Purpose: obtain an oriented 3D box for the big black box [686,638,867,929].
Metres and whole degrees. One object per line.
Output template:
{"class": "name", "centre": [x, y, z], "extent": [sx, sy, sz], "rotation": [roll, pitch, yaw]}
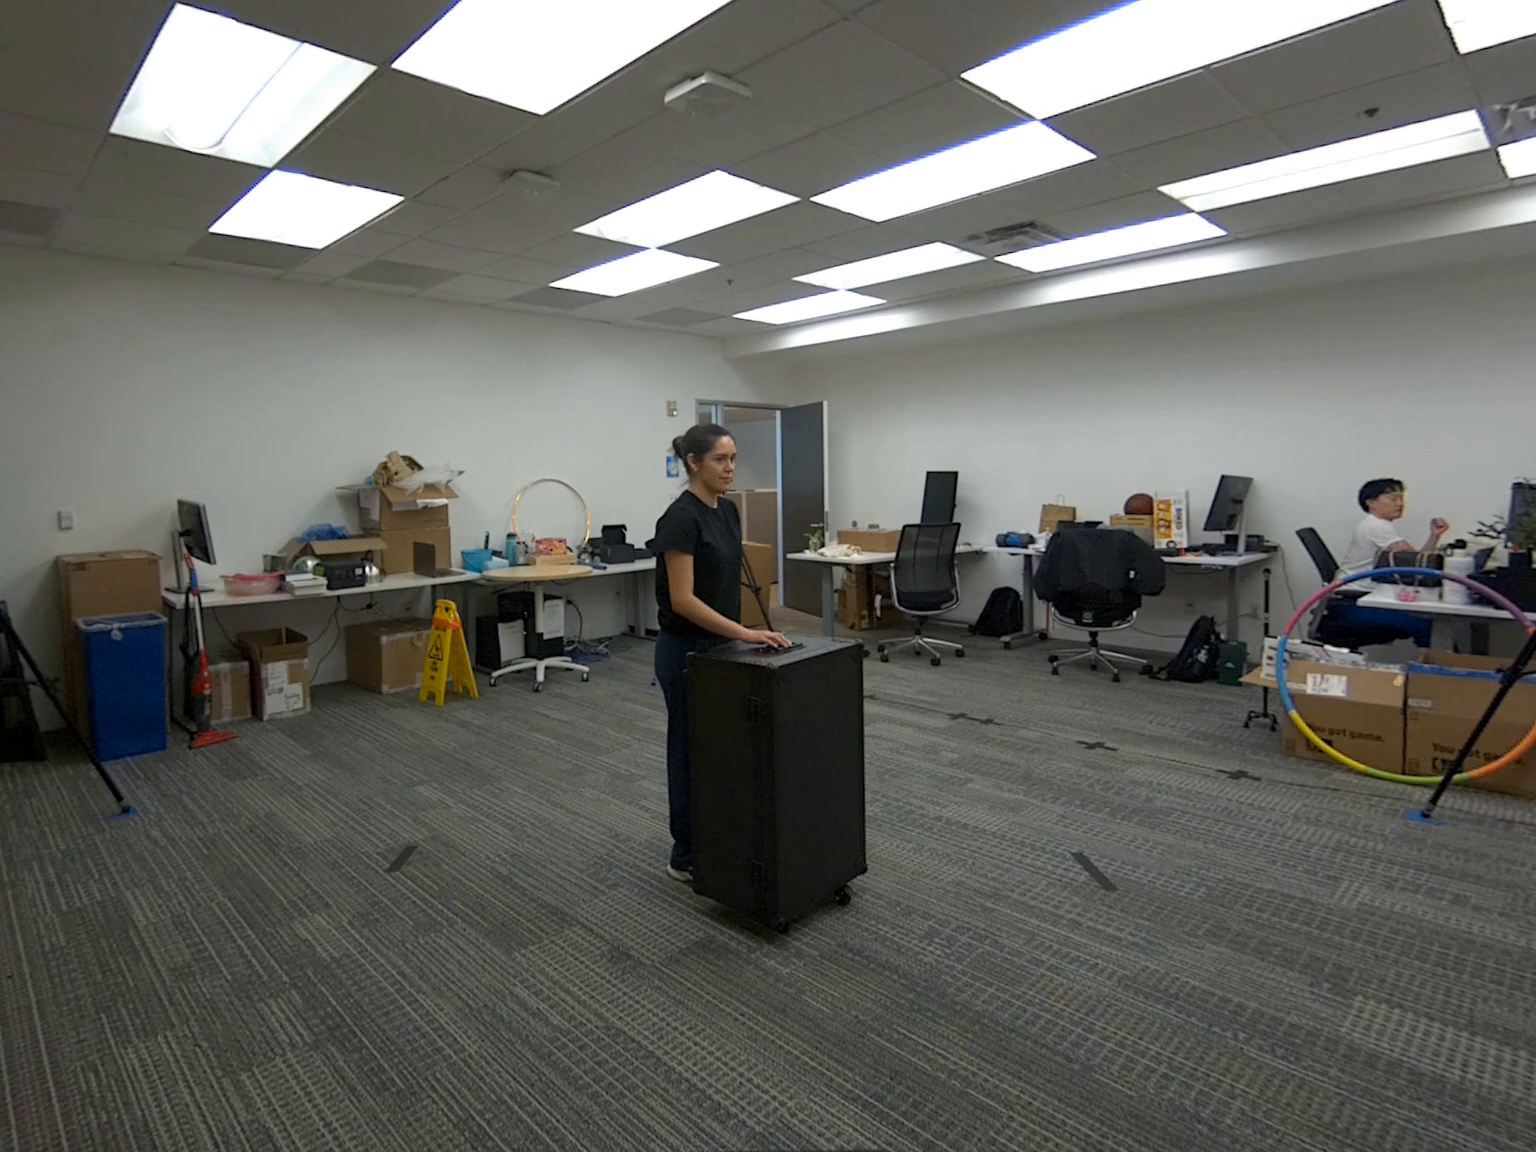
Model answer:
{"class": "big black box", "centre": [0.043, 0.655, 2.799], "extent": [0.408, 0.859, 0.507], "rotation": [2, 5, 40]}
